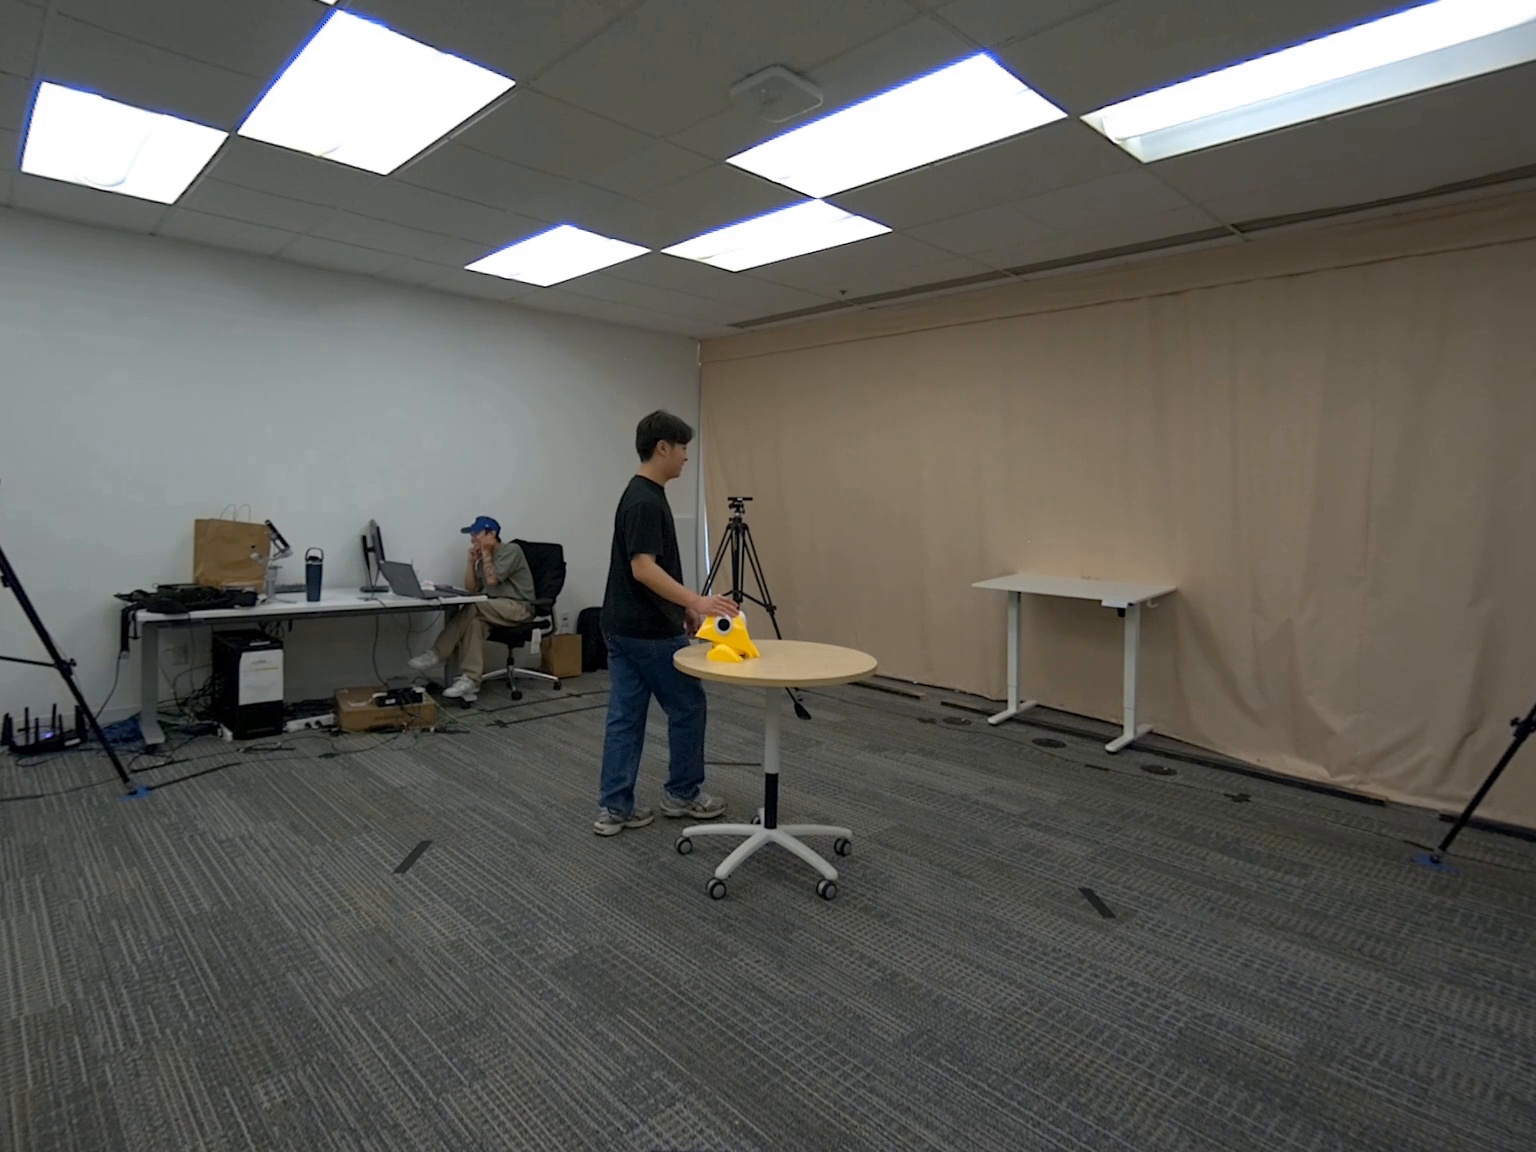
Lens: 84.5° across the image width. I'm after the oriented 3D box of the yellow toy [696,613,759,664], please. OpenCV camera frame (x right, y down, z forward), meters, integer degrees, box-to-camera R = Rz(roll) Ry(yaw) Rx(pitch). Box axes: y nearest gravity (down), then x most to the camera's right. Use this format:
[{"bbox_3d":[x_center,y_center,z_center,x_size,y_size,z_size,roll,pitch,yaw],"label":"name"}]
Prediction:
[{"bbox_3d":[-0.144,0.191,3.172,0.197,0.230,0.200,4,5,33],"label":"yellow toy"}]
